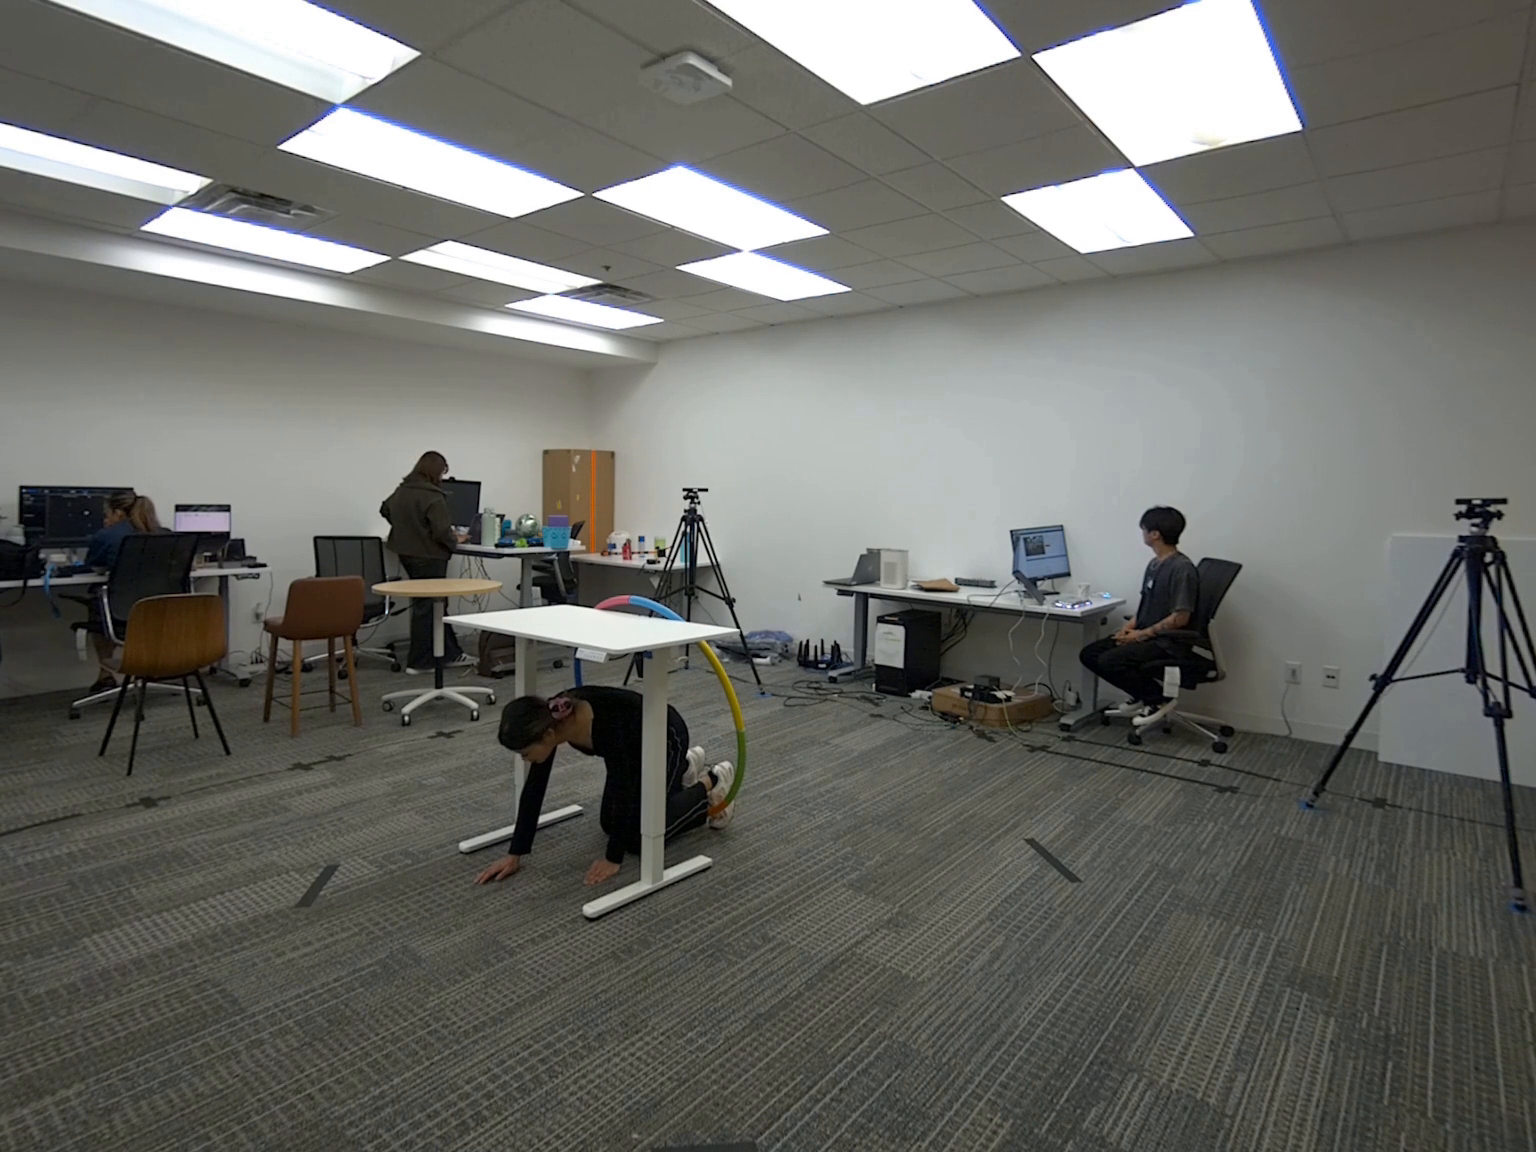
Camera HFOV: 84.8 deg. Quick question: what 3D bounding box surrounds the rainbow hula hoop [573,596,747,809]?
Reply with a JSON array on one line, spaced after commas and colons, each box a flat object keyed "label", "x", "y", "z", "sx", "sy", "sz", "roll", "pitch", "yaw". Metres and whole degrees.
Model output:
[{"label": "rainbow hula hoop", "x": -0.489, "y": 0.554, "z": 3.533, "sx": 1.011, "sy": 0.963, "sz": 0.035, "roll": 4, "pitch": 19, "yaw": 40}]
